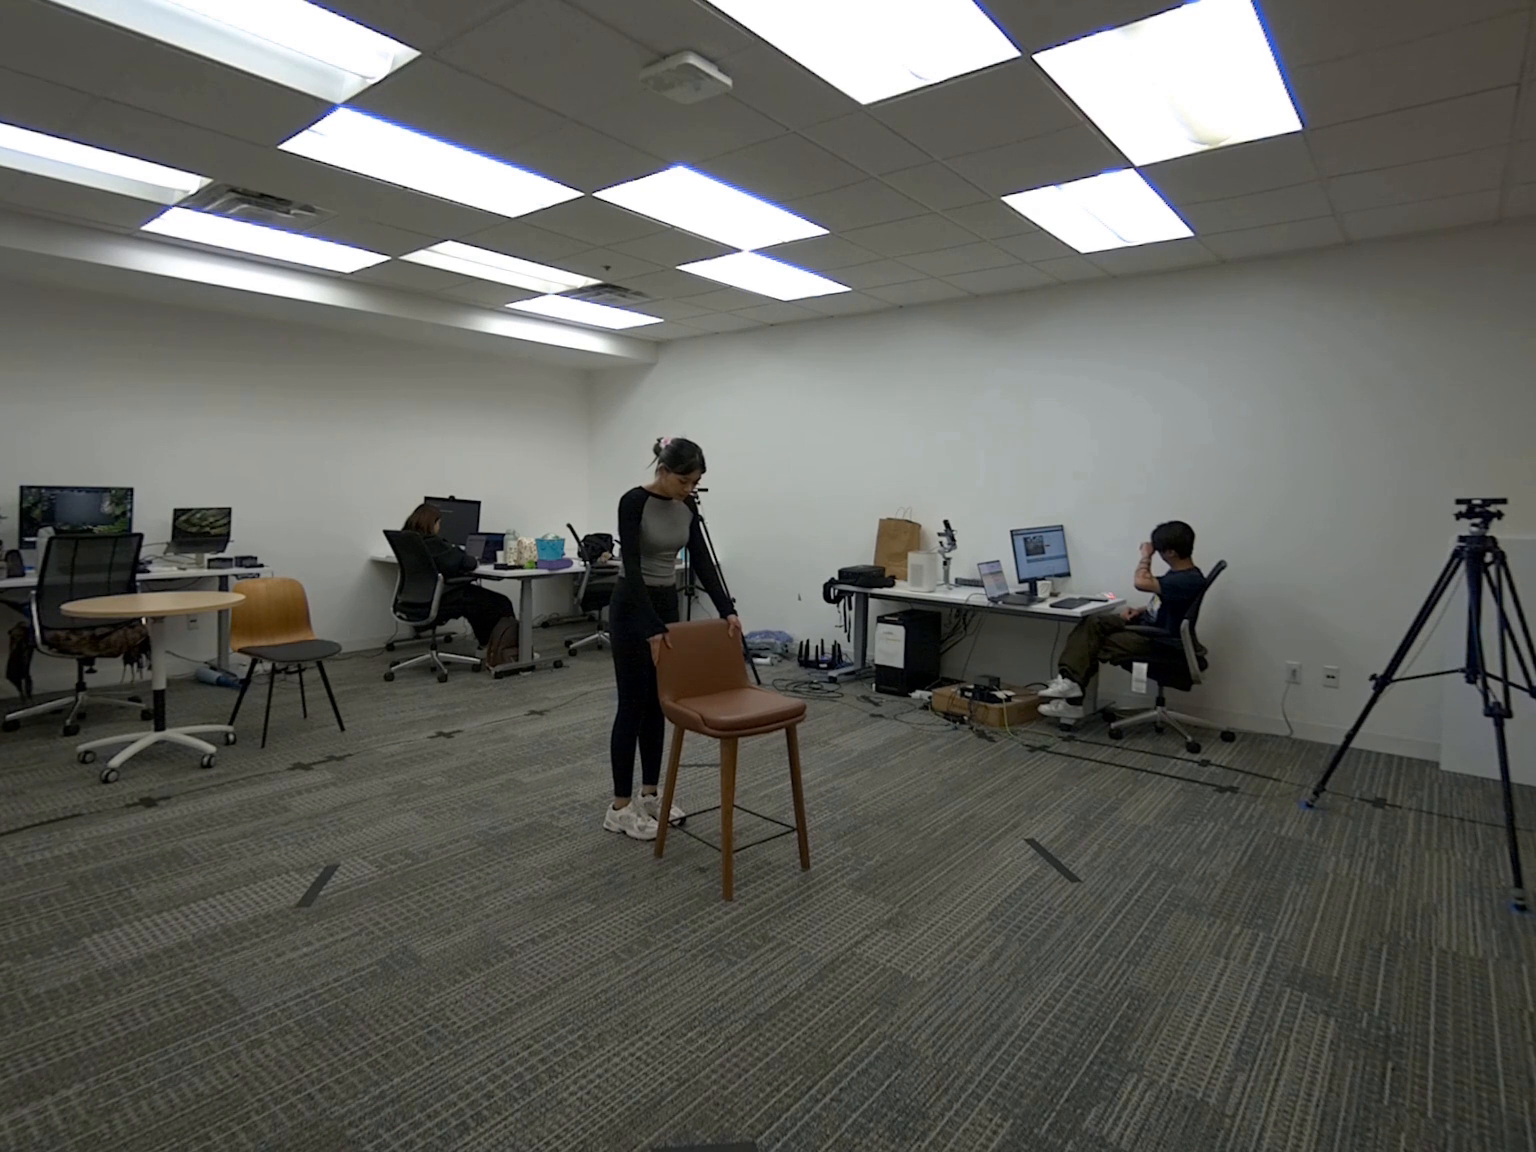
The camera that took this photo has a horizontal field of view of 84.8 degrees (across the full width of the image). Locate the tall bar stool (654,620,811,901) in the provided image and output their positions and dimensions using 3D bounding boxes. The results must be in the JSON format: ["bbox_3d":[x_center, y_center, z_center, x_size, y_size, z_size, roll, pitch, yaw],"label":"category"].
[{"bbox_3d":[-0.152,0.627,3.154,0.443,0.889,0.482,-2,2,-42],"label":"tall bar stool"}]
